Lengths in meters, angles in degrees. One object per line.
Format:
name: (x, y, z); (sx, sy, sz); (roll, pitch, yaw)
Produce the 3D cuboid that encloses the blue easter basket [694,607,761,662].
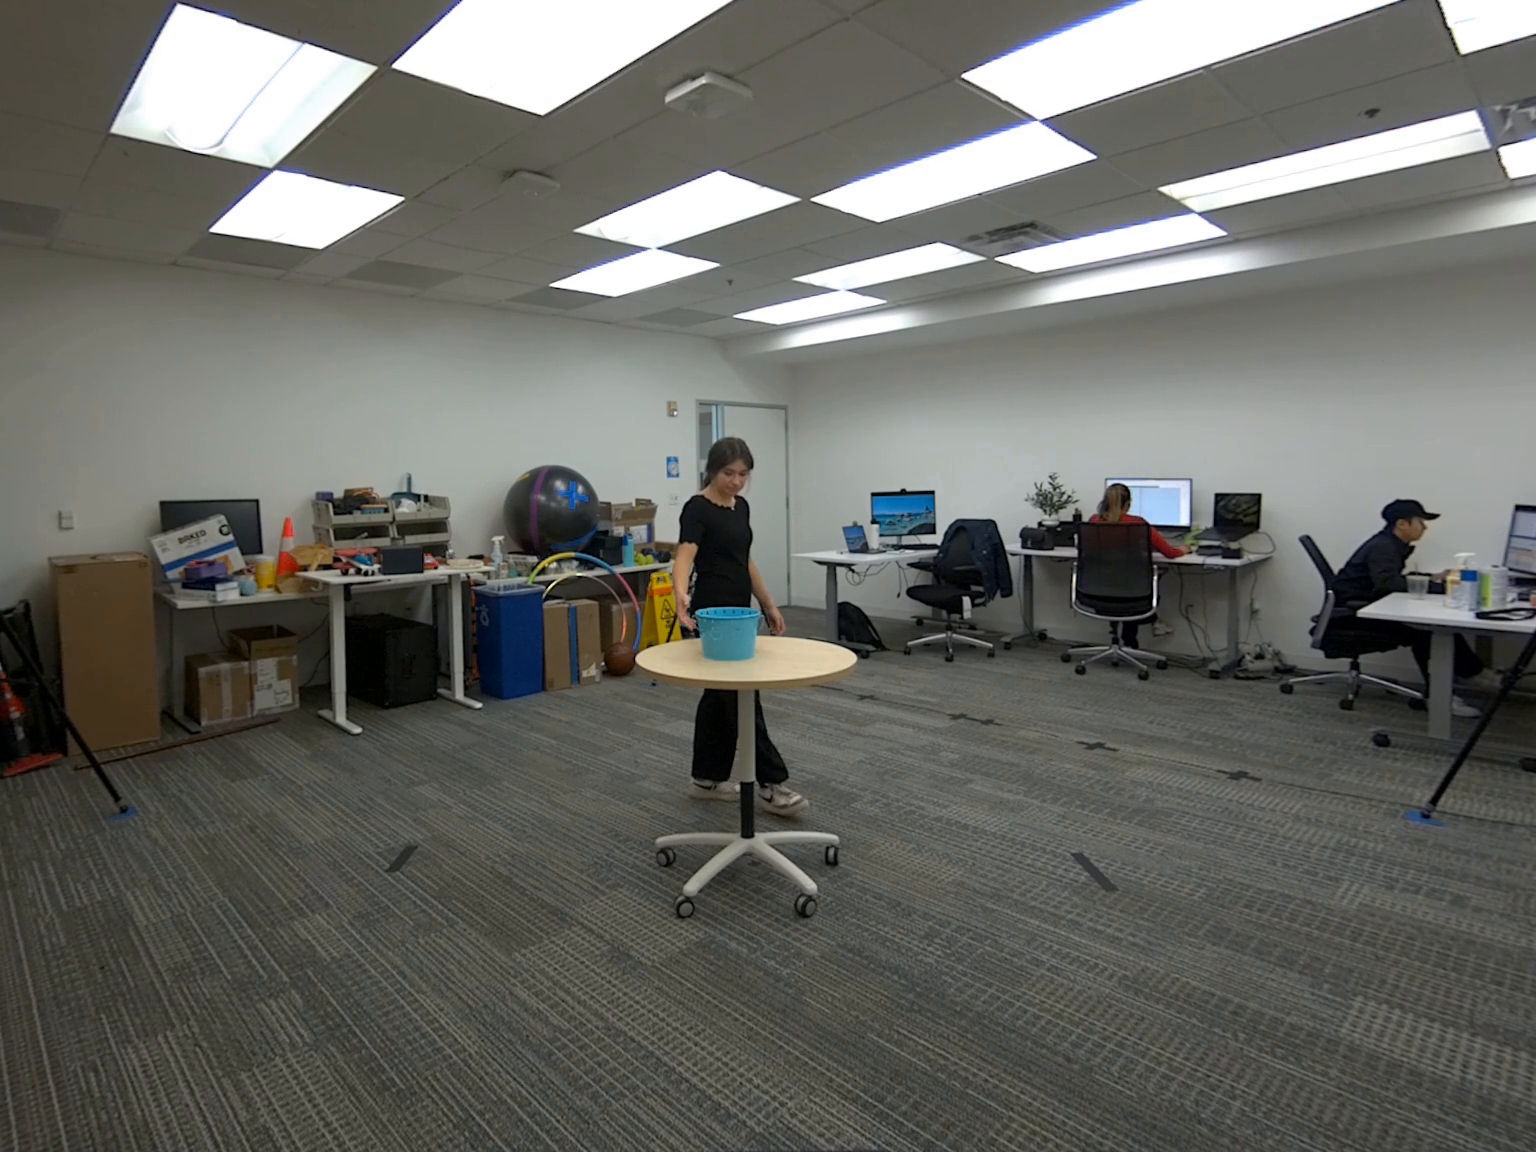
blue easter basket: (-0.135, 0.204, 2.983); (0.243, 0.155, 0.245); (-1, 5, -2)
